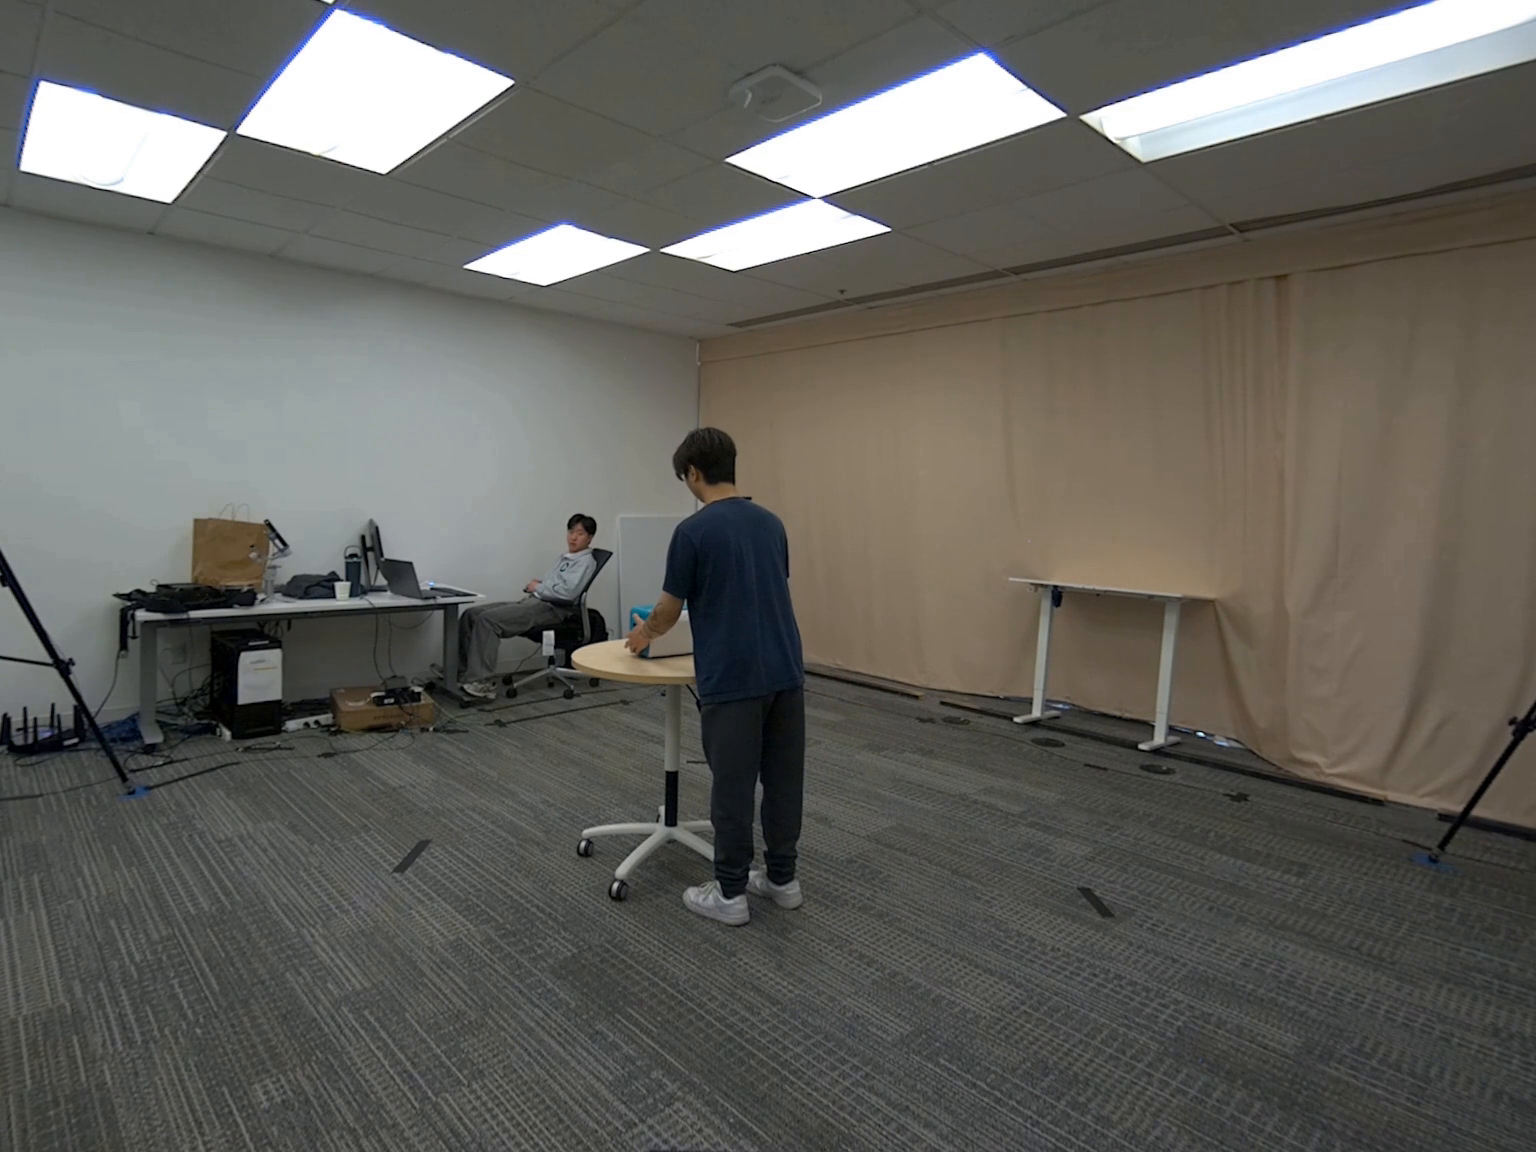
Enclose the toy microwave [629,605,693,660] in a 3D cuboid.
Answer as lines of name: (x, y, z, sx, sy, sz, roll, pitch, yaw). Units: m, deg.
toy microwave: (-0.385, 0.210, 3.189, 0.280, 0.184, 0.156, -3, 4, -37)
